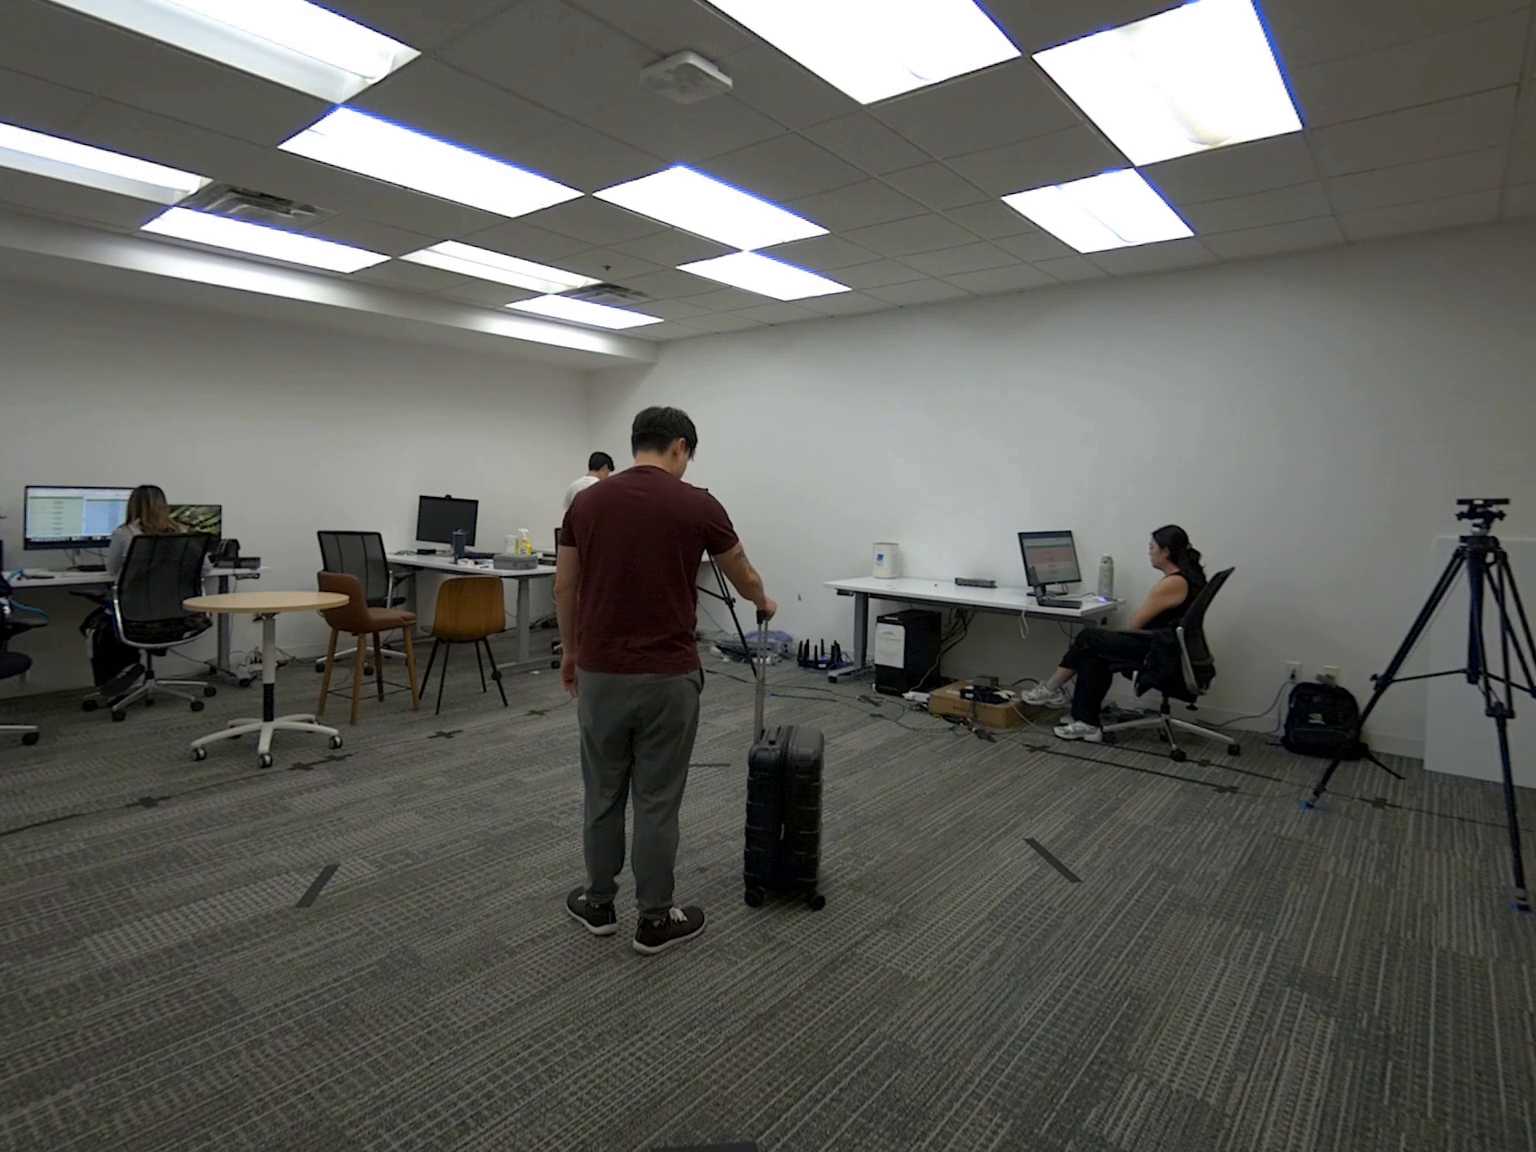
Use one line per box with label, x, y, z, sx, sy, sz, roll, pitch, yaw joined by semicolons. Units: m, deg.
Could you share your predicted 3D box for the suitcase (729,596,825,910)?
suitcase;0.069;0.613;2.968;0.259;0.976;0.382;4;3;5
